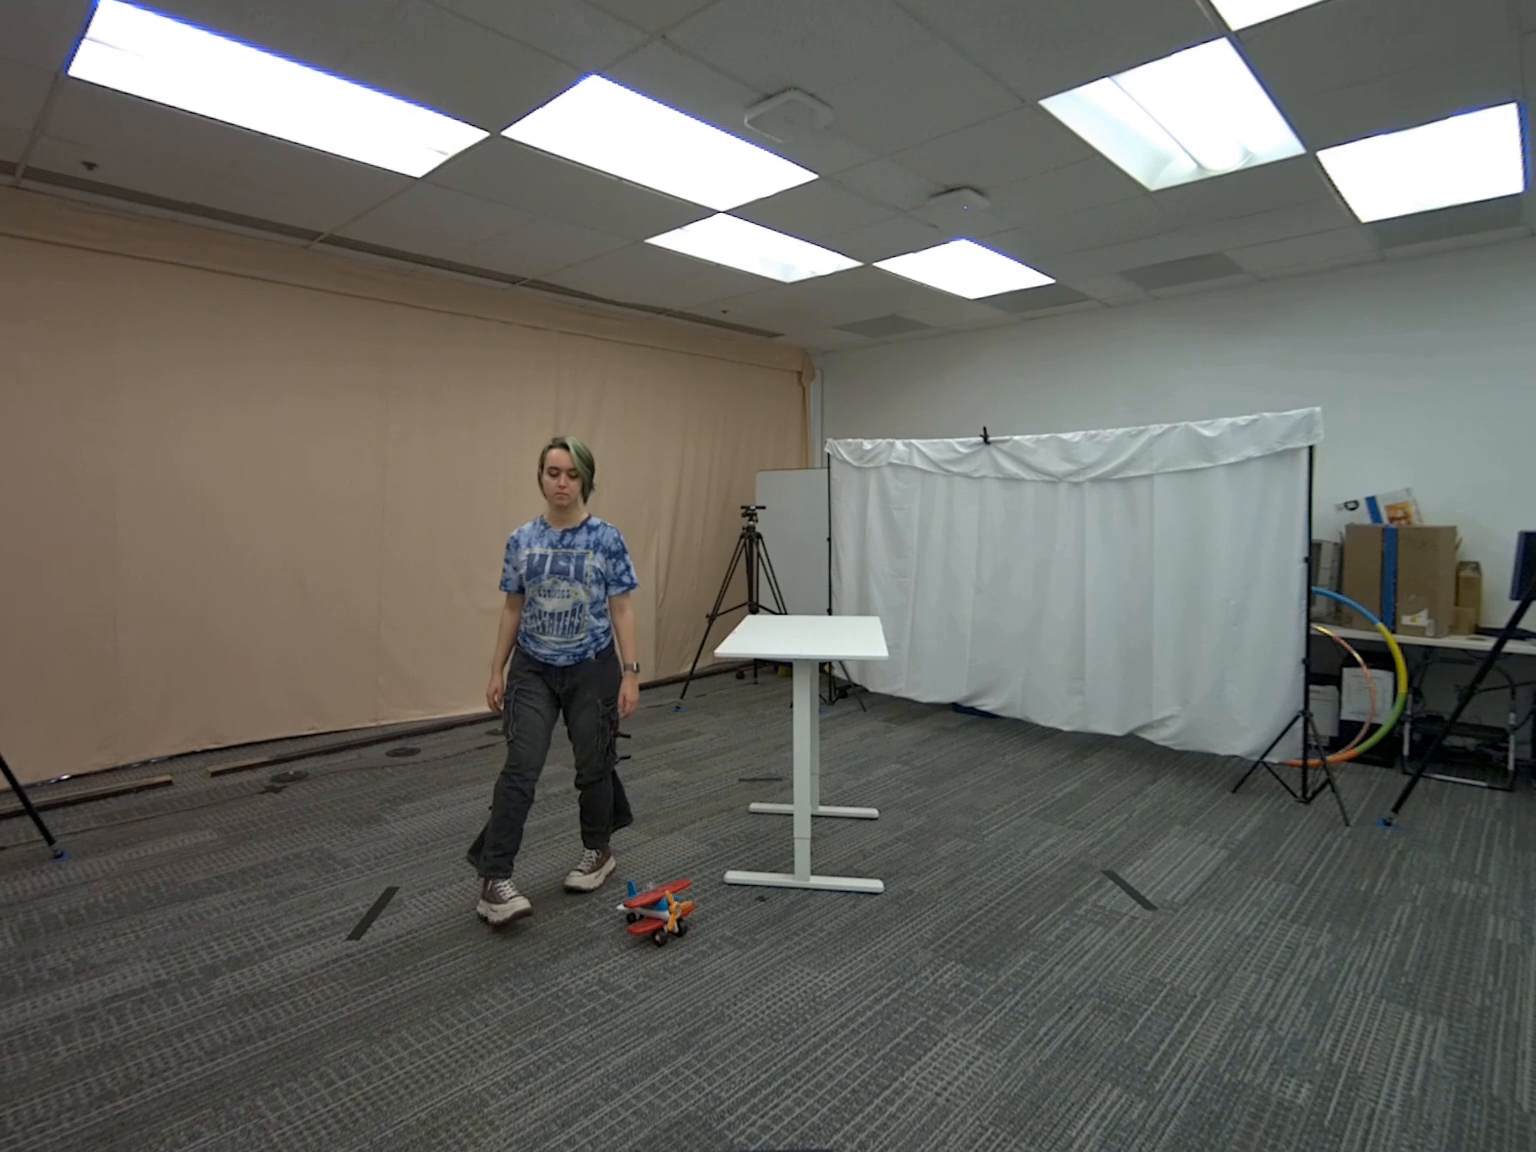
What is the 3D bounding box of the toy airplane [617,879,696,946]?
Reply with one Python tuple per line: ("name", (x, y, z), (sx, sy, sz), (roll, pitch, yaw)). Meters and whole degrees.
("toy airplane", (-0.388, 1.092, 2.742), (0.264, 0.156, 0.247), (3, 5, 16))
